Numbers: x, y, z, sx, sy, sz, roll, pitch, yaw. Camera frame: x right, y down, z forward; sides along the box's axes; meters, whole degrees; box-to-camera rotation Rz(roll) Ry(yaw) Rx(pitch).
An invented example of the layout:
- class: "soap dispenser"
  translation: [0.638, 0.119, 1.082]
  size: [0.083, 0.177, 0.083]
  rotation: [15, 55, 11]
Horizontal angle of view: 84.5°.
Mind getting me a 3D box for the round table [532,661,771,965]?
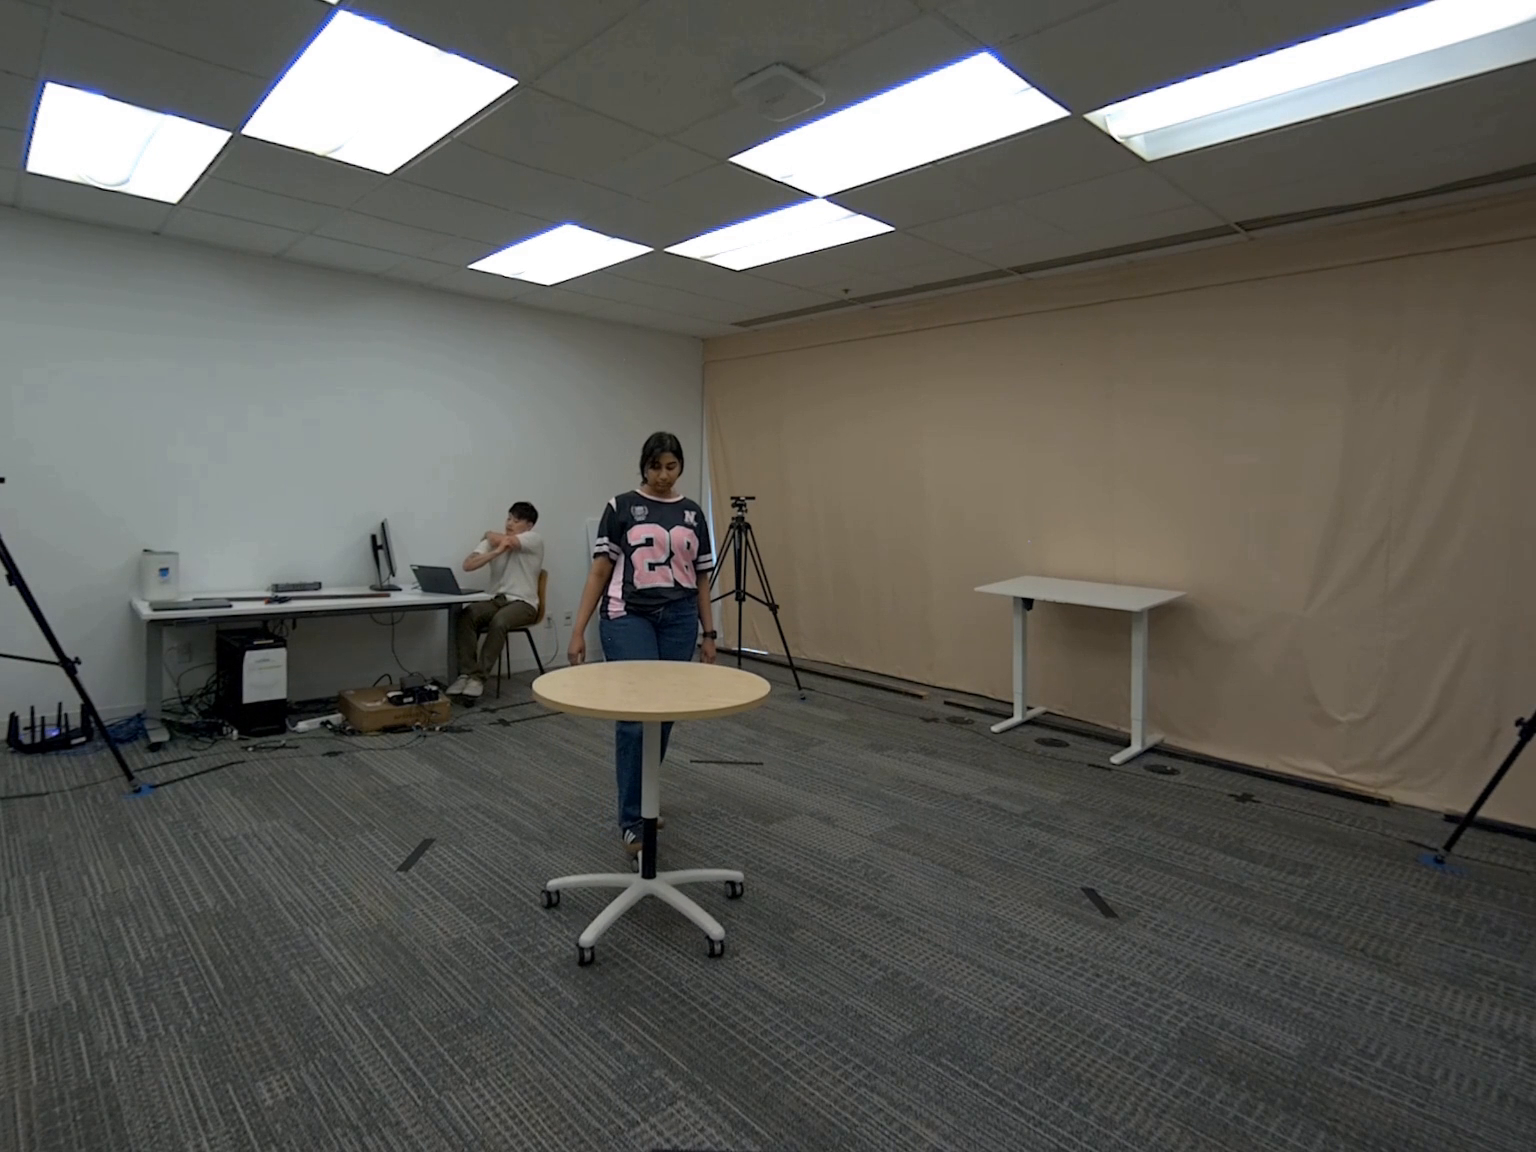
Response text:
- class: "round table"
  translation: [-0.394, 0.742, 2.749]
  size: [0.763, 0.792, 0.767]
  rotation: [2, 4, -1]
